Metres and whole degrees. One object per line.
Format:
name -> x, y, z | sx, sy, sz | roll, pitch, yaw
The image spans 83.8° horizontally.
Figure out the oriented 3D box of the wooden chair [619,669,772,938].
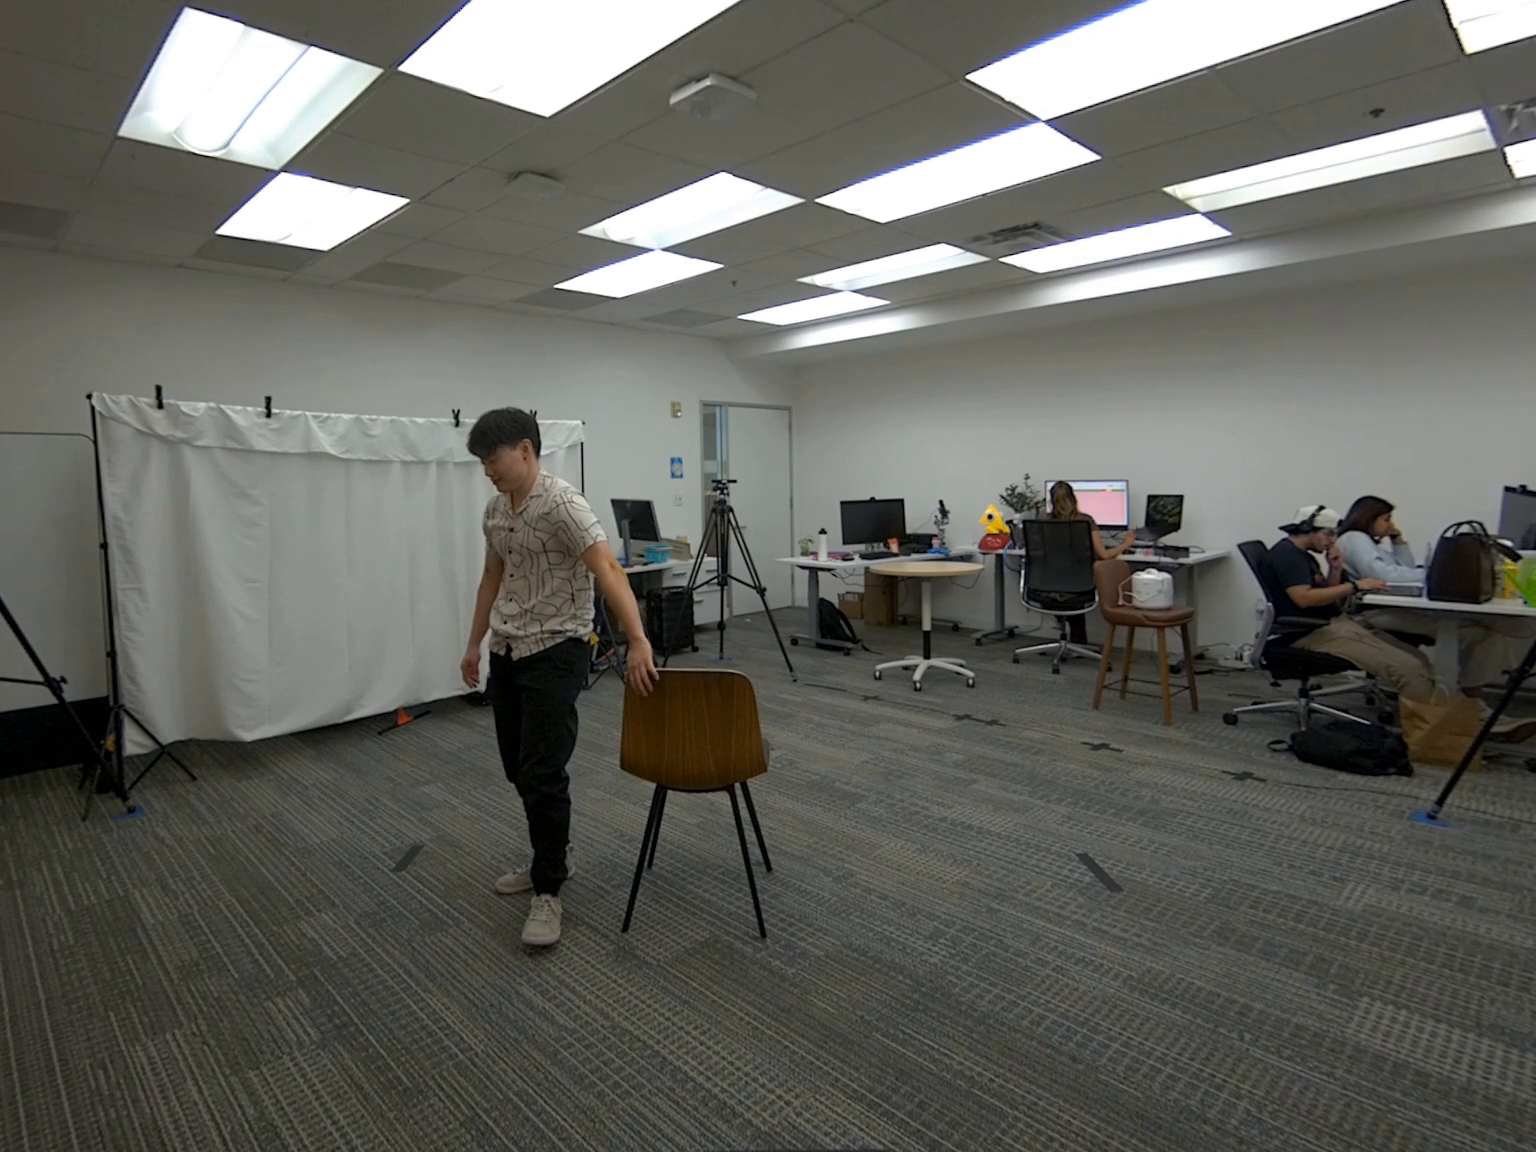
wooden chair -> -0.228, 0.654, 2.825 | 0.480, 0.871, 0.525 | -1, 8, 4
